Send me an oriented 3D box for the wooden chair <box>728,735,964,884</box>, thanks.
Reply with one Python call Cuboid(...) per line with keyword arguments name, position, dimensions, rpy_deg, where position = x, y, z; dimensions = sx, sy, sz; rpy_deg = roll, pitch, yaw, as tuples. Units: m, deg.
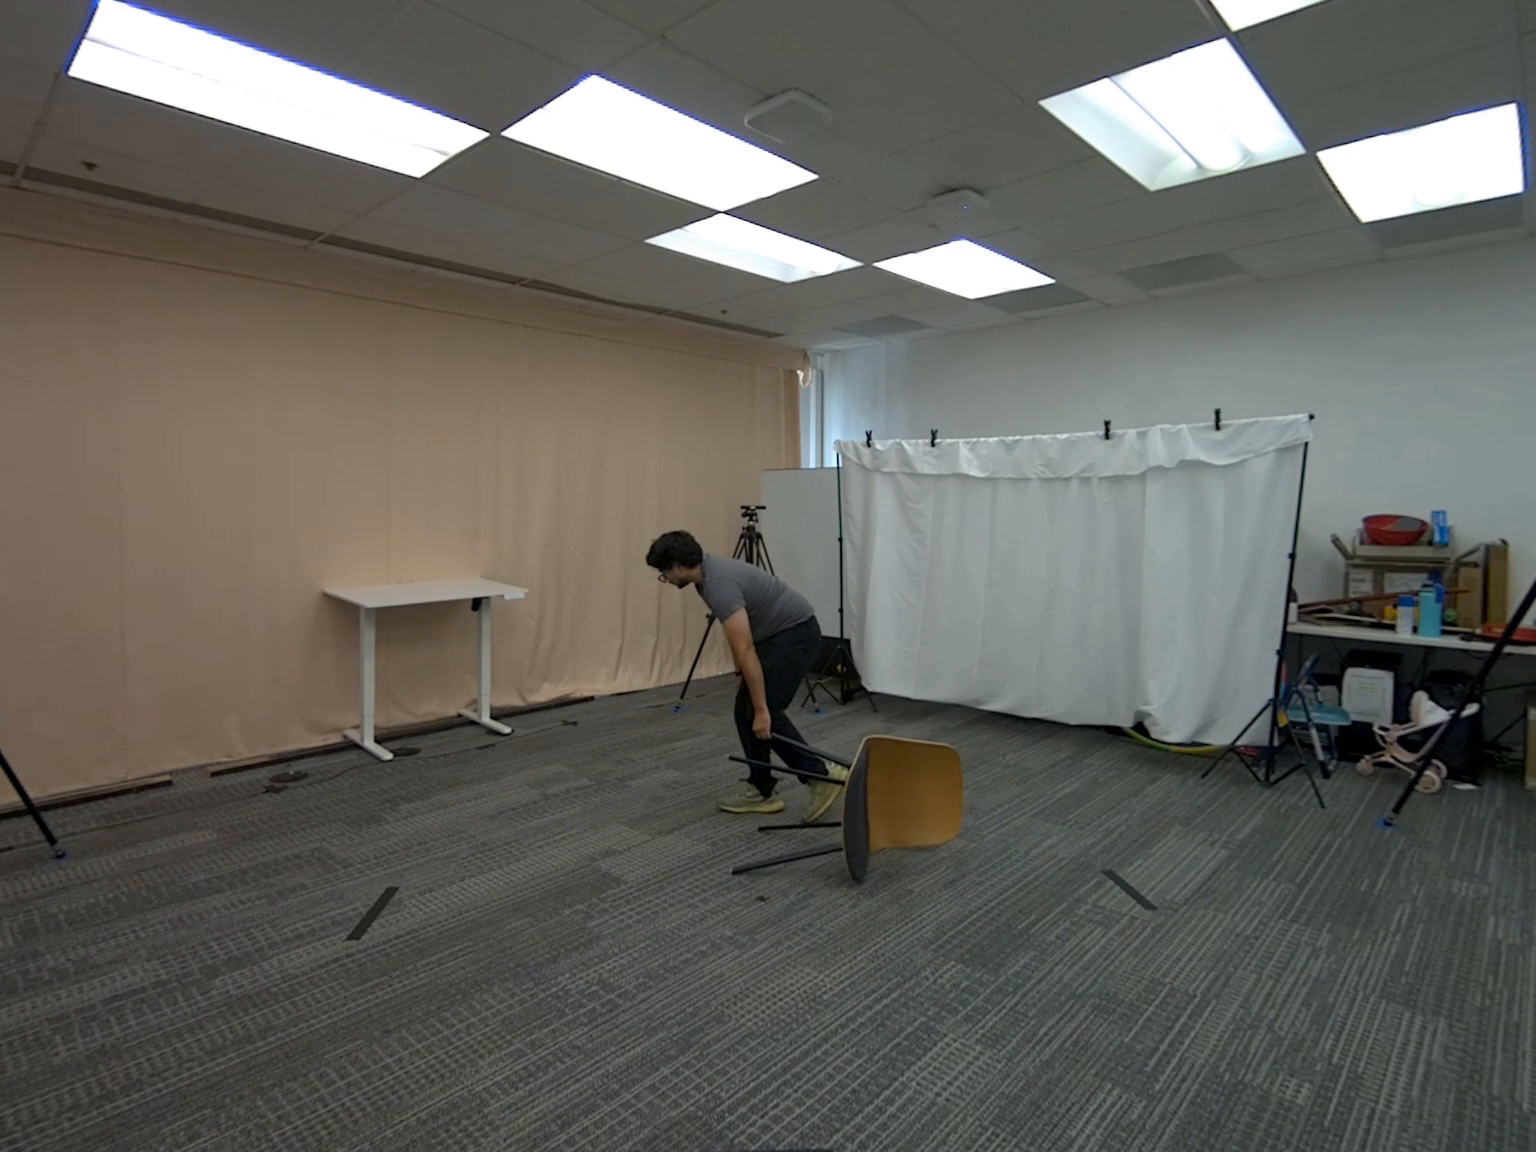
Cuboid(name="wooden chair", position=(0.332, 0.888, 3.256), dimensions=(0.889, 0.477, 0.518), rpy_deg=(1, 5, 12))
